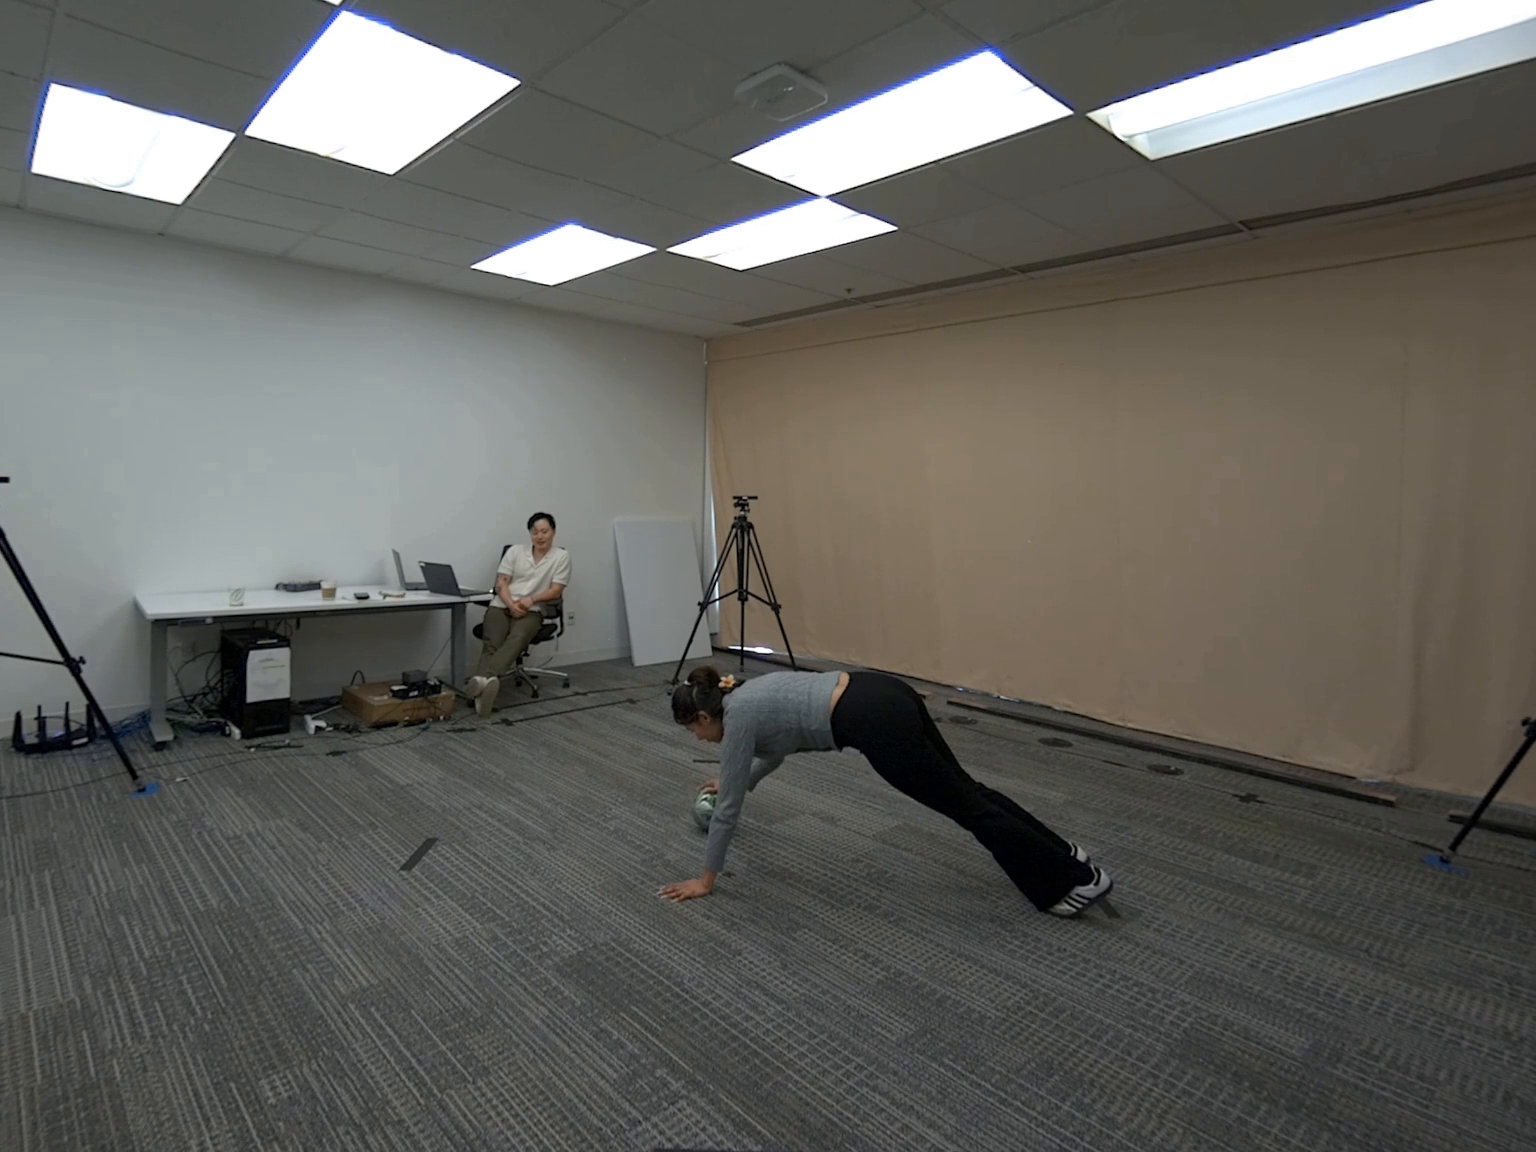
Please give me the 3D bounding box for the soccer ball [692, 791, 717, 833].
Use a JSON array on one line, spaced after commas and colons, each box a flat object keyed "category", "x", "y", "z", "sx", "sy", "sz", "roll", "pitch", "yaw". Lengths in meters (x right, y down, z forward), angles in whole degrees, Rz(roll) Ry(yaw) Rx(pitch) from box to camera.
[{"category": "soccer ball", "x": -0.238, "y": 0.971, "z": 3.511, "sx": 0.187, "sy": 0.187, "sz": 0.188, "roll": 1, "pitch": 4, "yaw": -1}]
